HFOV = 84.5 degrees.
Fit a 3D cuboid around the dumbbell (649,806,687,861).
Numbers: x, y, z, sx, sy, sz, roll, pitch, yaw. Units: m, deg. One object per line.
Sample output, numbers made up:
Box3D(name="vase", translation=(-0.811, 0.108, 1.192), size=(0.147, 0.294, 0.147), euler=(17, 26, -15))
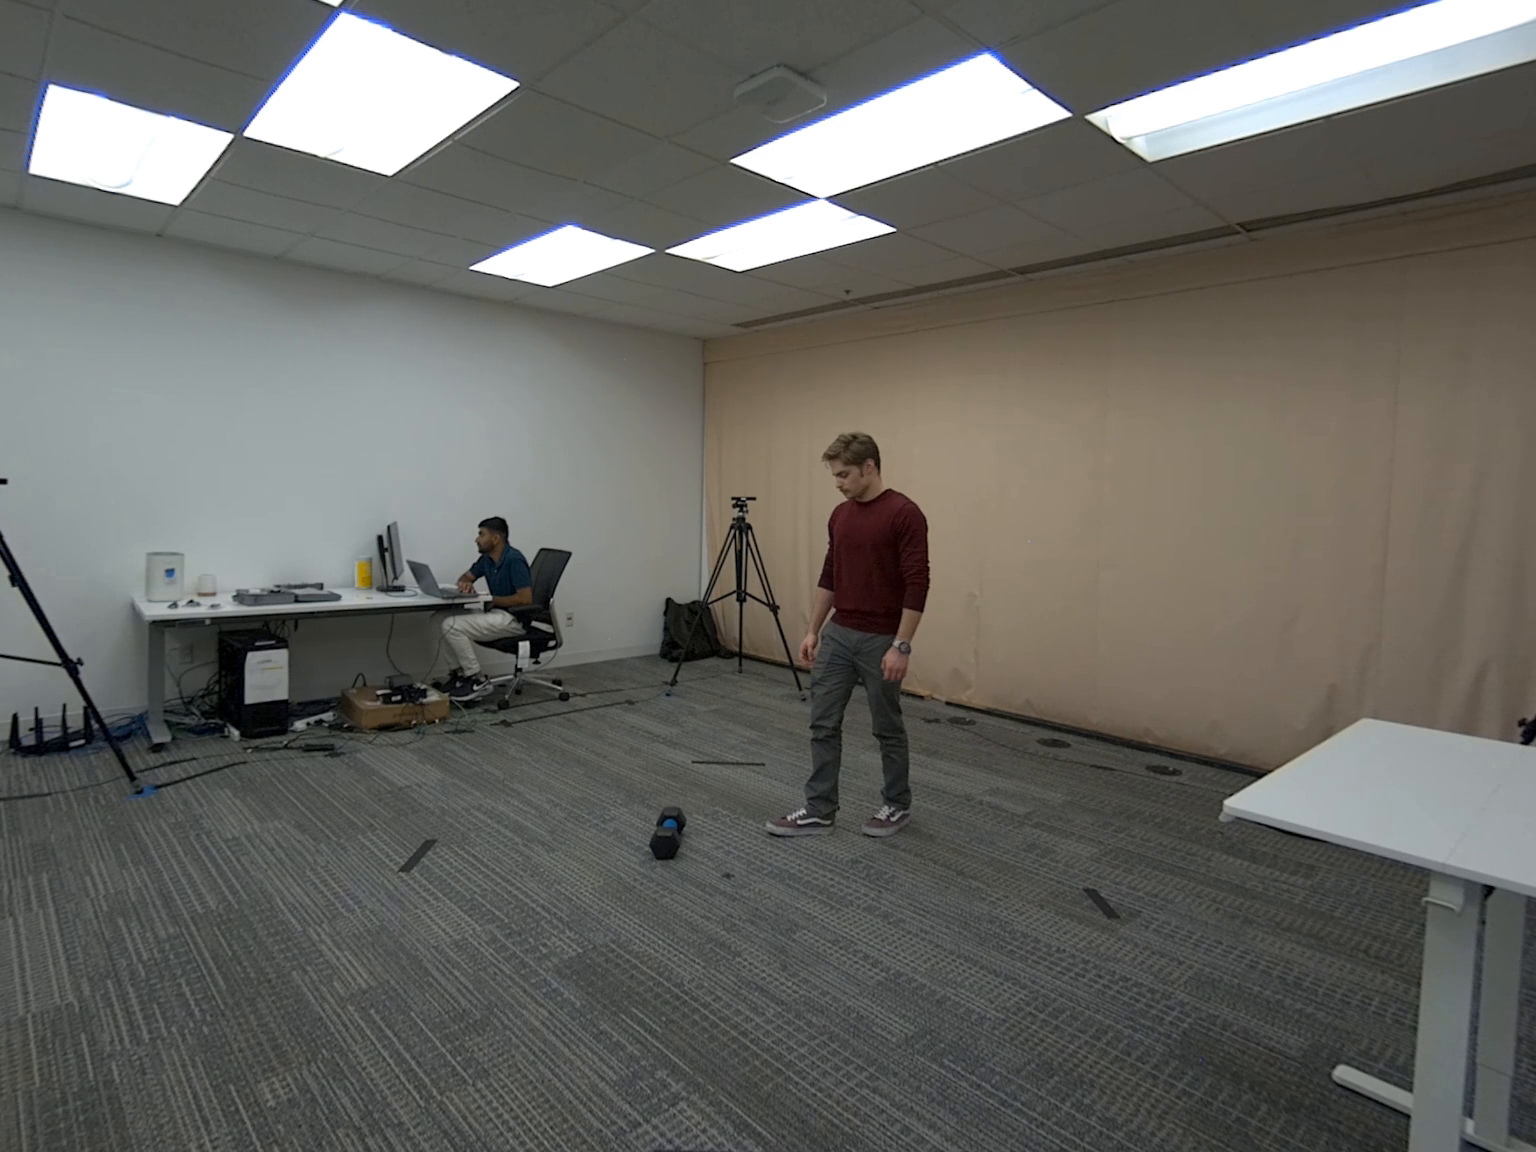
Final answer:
Box3D(name="dumbbell", translation=(-0.404, 1.027, 3.364), size=(0.108, 0.123, 0.294), euler=(31, 4, -2))
